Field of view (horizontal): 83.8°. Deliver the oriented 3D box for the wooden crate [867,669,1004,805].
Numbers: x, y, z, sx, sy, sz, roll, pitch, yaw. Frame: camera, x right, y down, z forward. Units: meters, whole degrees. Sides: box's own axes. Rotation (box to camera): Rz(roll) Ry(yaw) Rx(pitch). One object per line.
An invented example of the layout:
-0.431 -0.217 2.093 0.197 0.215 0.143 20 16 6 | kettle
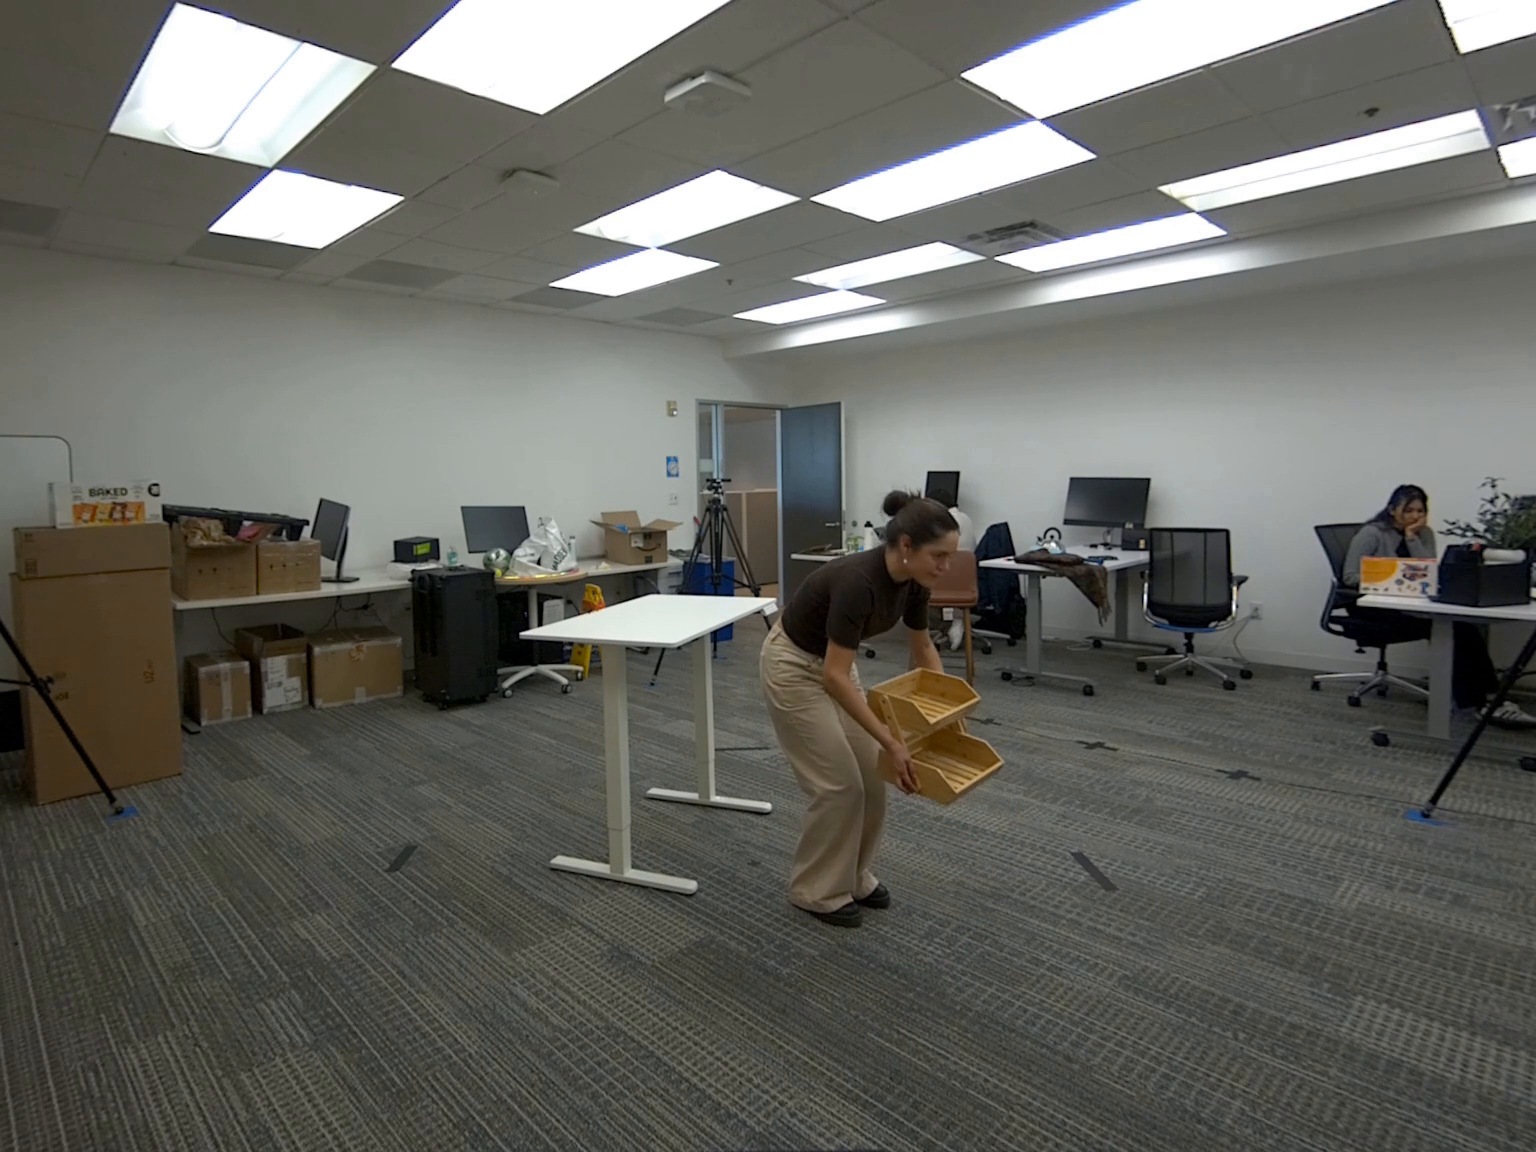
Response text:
0.498 0.458 2.505 0.312 0.271 0.316 10 13 40 | wooden crate
